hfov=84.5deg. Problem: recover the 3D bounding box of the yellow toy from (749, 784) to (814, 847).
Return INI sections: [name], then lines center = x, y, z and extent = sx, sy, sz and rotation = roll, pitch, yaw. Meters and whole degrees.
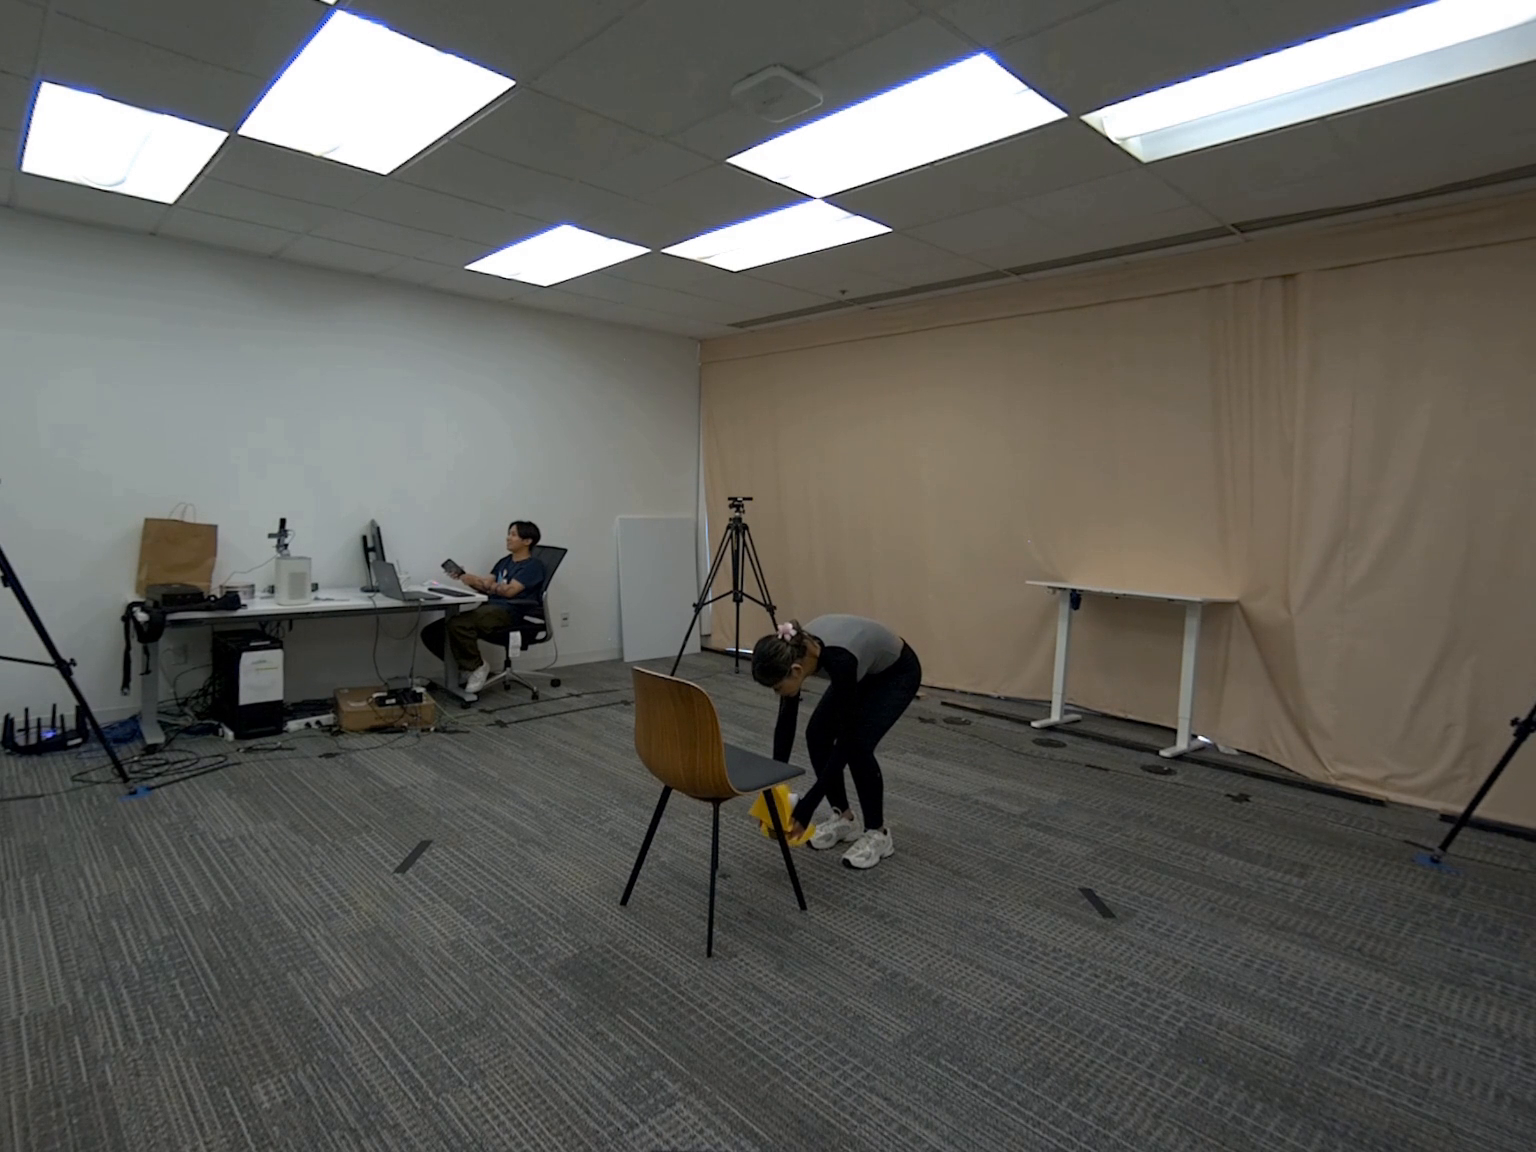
[yellow toy]
center = 0.052, 0.839, 3.119
extent = 0.210, 0.228, 0.189
rotation = 8, 16, 44
